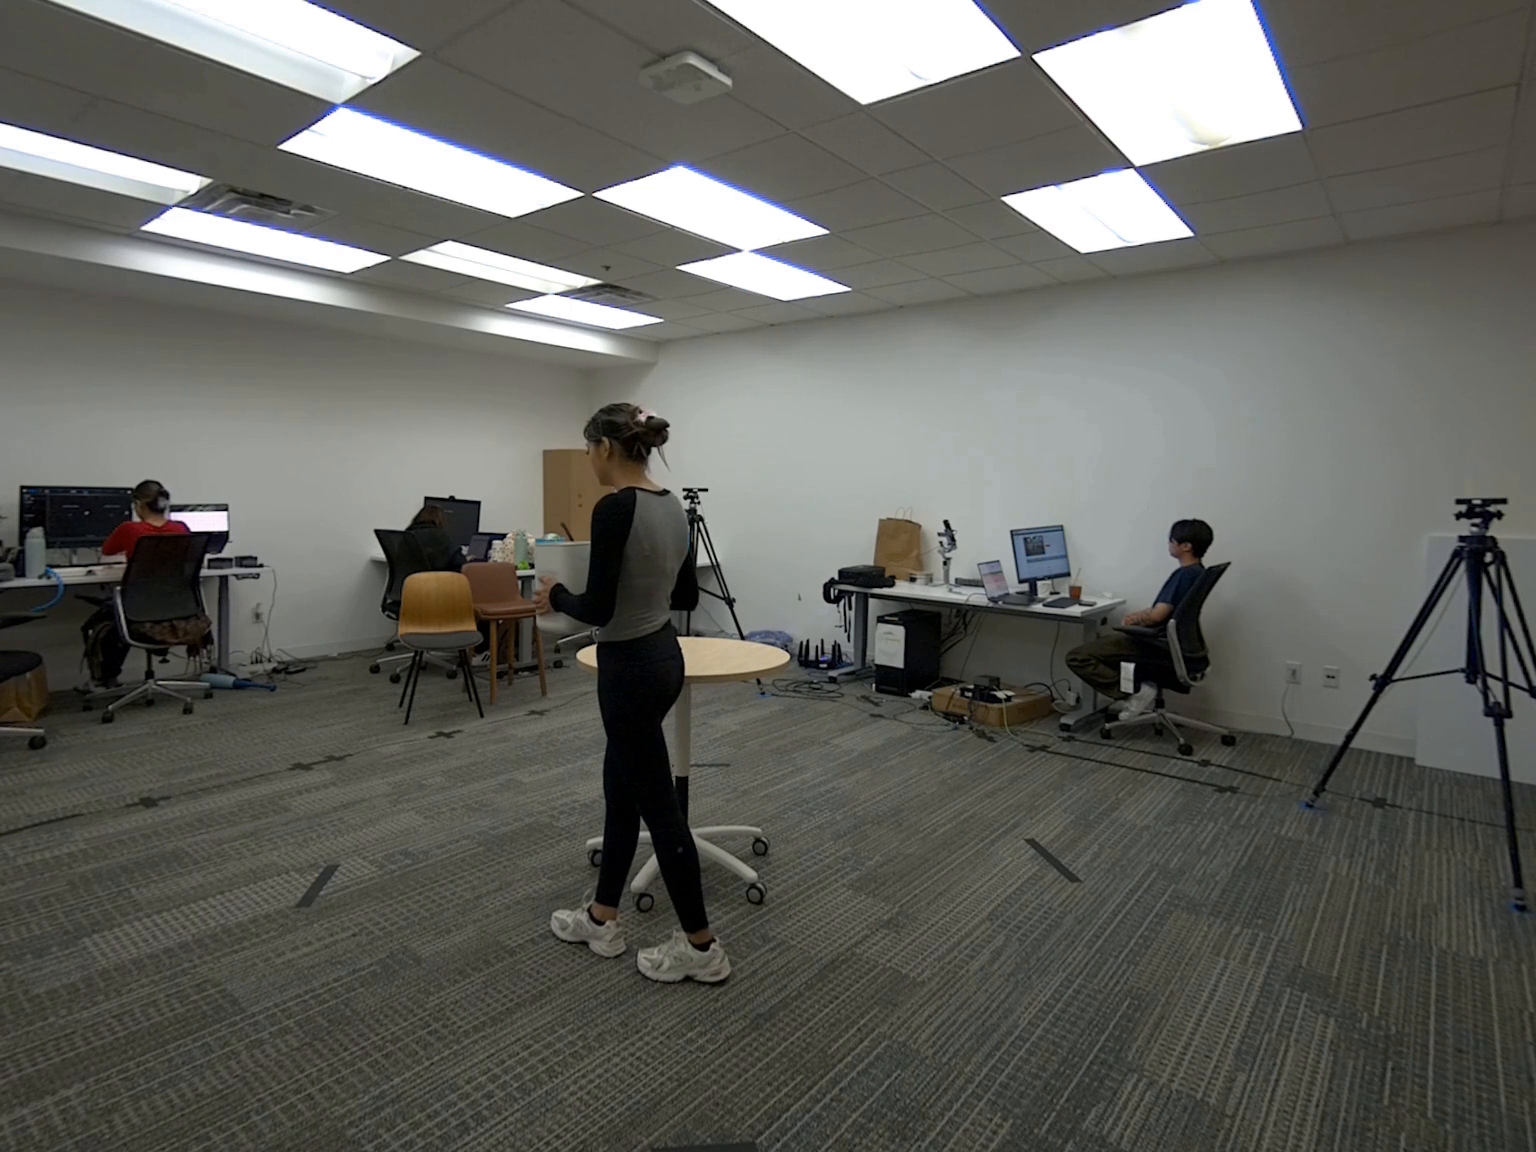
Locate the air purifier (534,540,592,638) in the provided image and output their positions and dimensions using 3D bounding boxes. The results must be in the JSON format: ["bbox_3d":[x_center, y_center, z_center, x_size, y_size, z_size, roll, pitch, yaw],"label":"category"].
[{"bbox_3d":[-0.614,0.030,2.577,0.177,0.264,0.166,2,4,32],"label":"air purifier"}]
